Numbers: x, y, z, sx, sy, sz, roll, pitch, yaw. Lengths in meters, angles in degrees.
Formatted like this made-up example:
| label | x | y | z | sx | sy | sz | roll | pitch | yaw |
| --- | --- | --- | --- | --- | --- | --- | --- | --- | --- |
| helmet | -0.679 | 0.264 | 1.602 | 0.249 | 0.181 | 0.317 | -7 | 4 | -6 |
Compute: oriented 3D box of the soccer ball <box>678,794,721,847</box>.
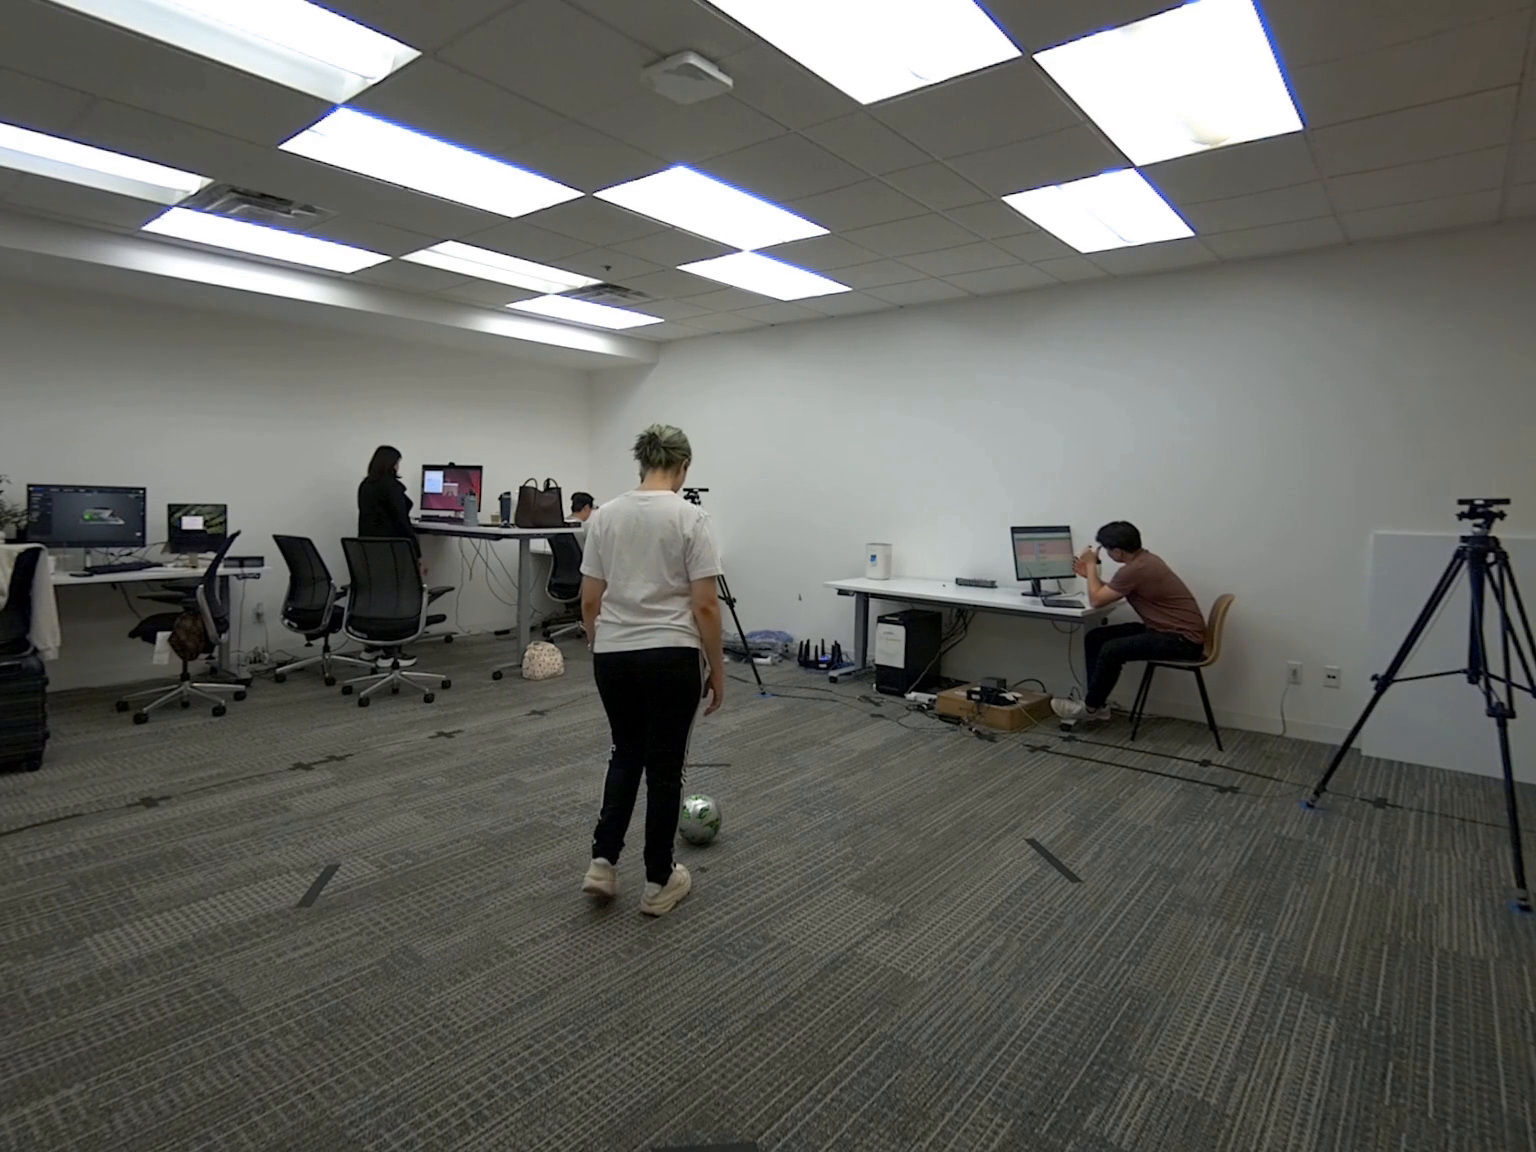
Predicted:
| label | x | y | z | sx | sy | sz | roll | pitch | yaw |
| --- | --- | --- | --- | --- | --- | --- | --- | --- | --- |
| soccer ball | -0.281 | 0.950 | 3.348 | 0.187 | 0.187 | 0.188 | 1 | 4 | -2 |
